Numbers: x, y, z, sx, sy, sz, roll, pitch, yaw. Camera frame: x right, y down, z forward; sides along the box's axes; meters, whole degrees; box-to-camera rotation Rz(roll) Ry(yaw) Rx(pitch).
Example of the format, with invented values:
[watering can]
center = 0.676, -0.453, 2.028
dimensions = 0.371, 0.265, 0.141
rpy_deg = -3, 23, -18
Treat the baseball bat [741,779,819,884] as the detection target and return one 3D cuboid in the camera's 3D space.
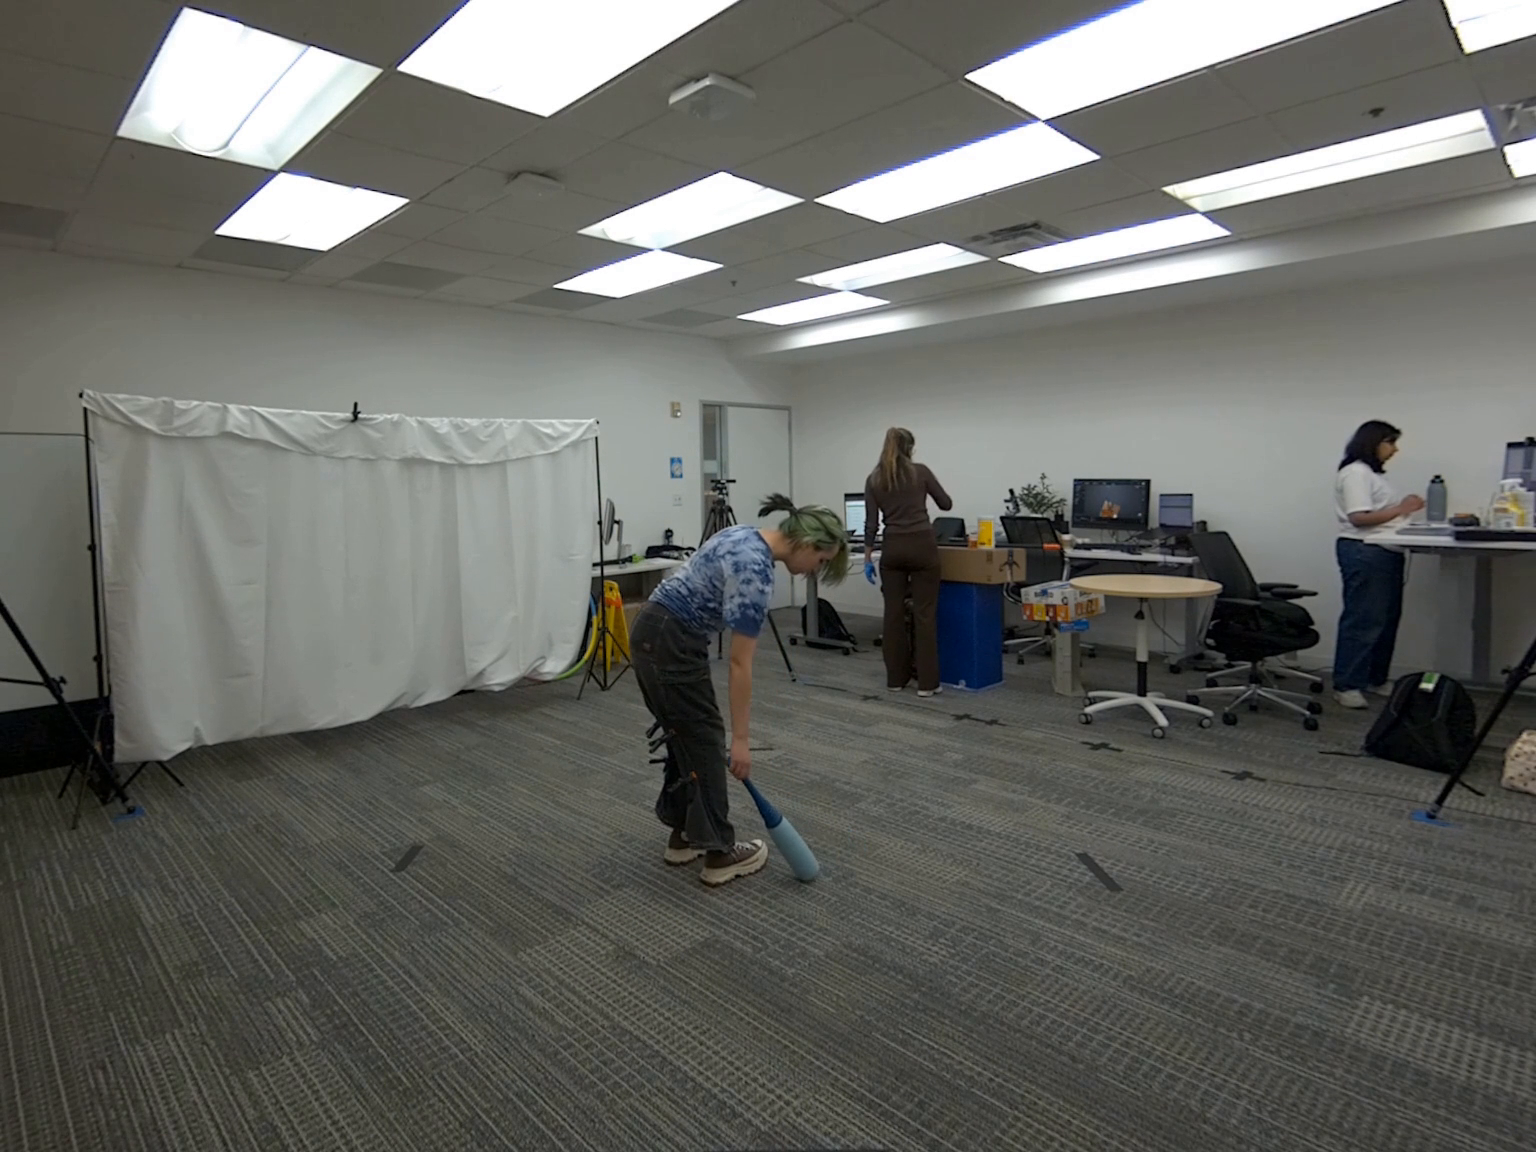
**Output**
[baseball bat]
center = 0.007, 0.824, 2.918
dimensions = 0.089, 0.533, 0.090
rpy_deg = -33, 14, 9
